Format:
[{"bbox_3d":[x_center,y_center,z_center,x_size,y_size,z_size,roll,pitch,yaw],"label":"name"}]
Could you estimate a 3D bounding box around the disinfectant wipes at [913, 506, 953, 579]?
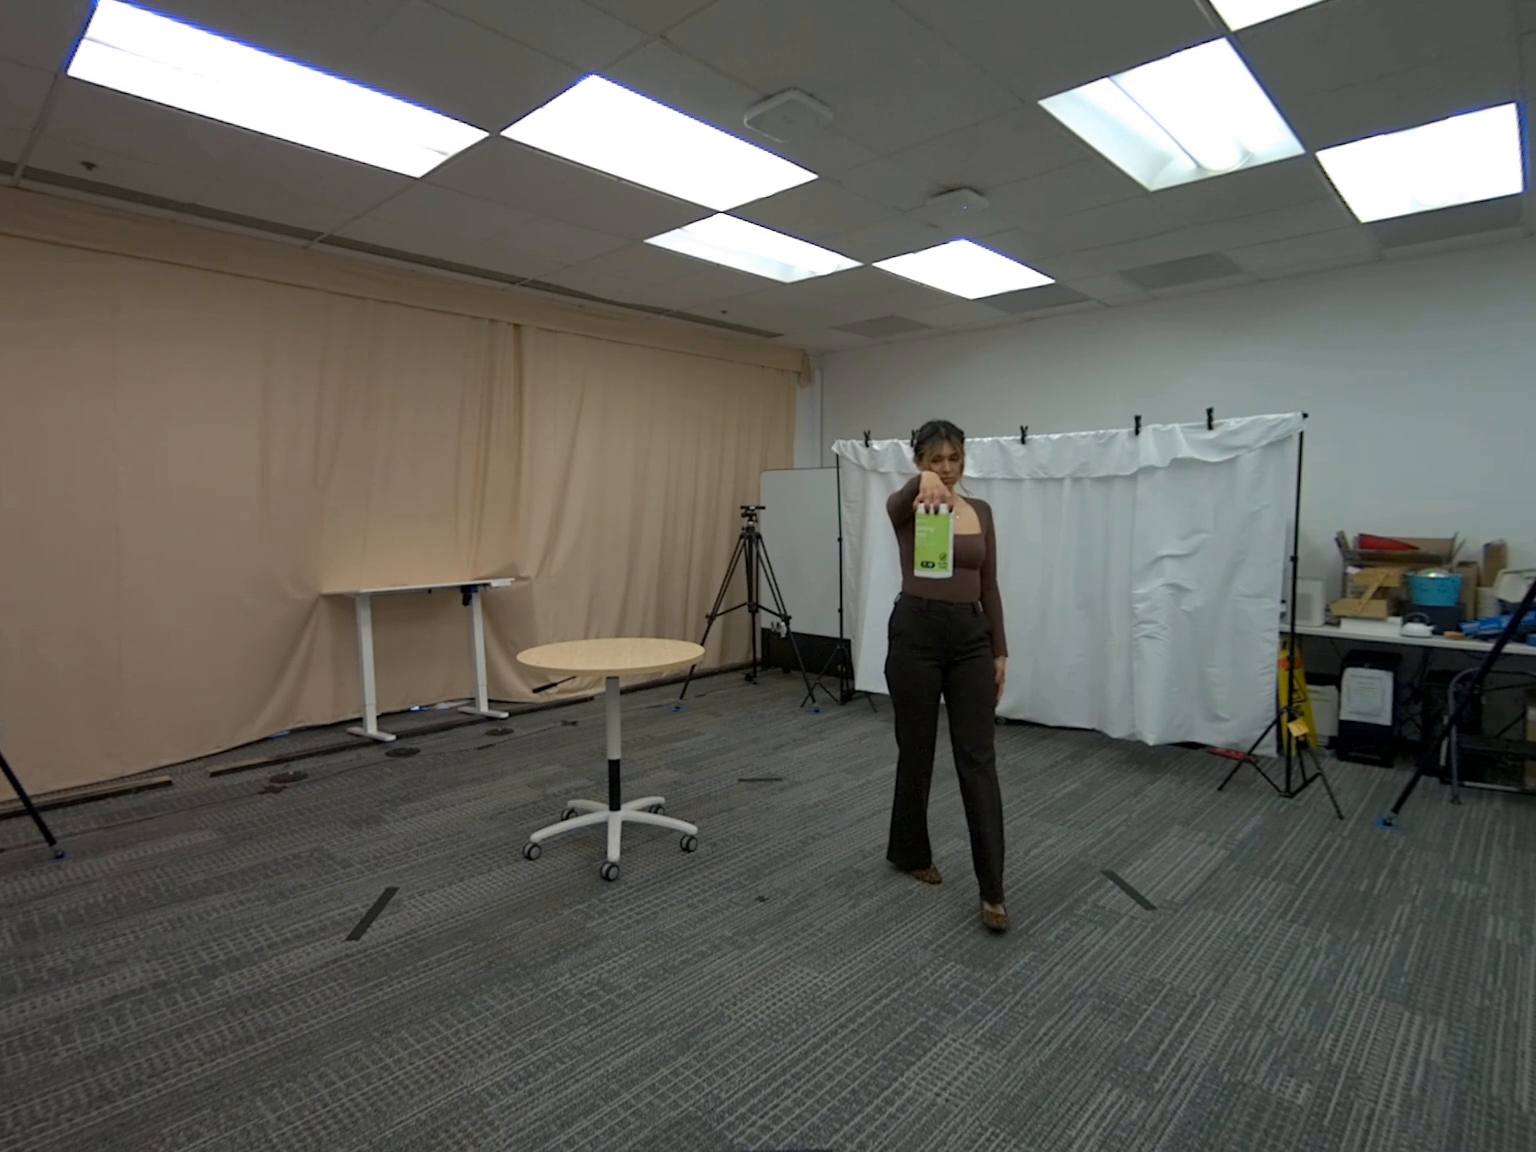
[{"bbox_3d":[0.496,-0.105,2.455,0.118,0.217,0.118,0,5,-2],"label":"disinfectant wipes"}]
